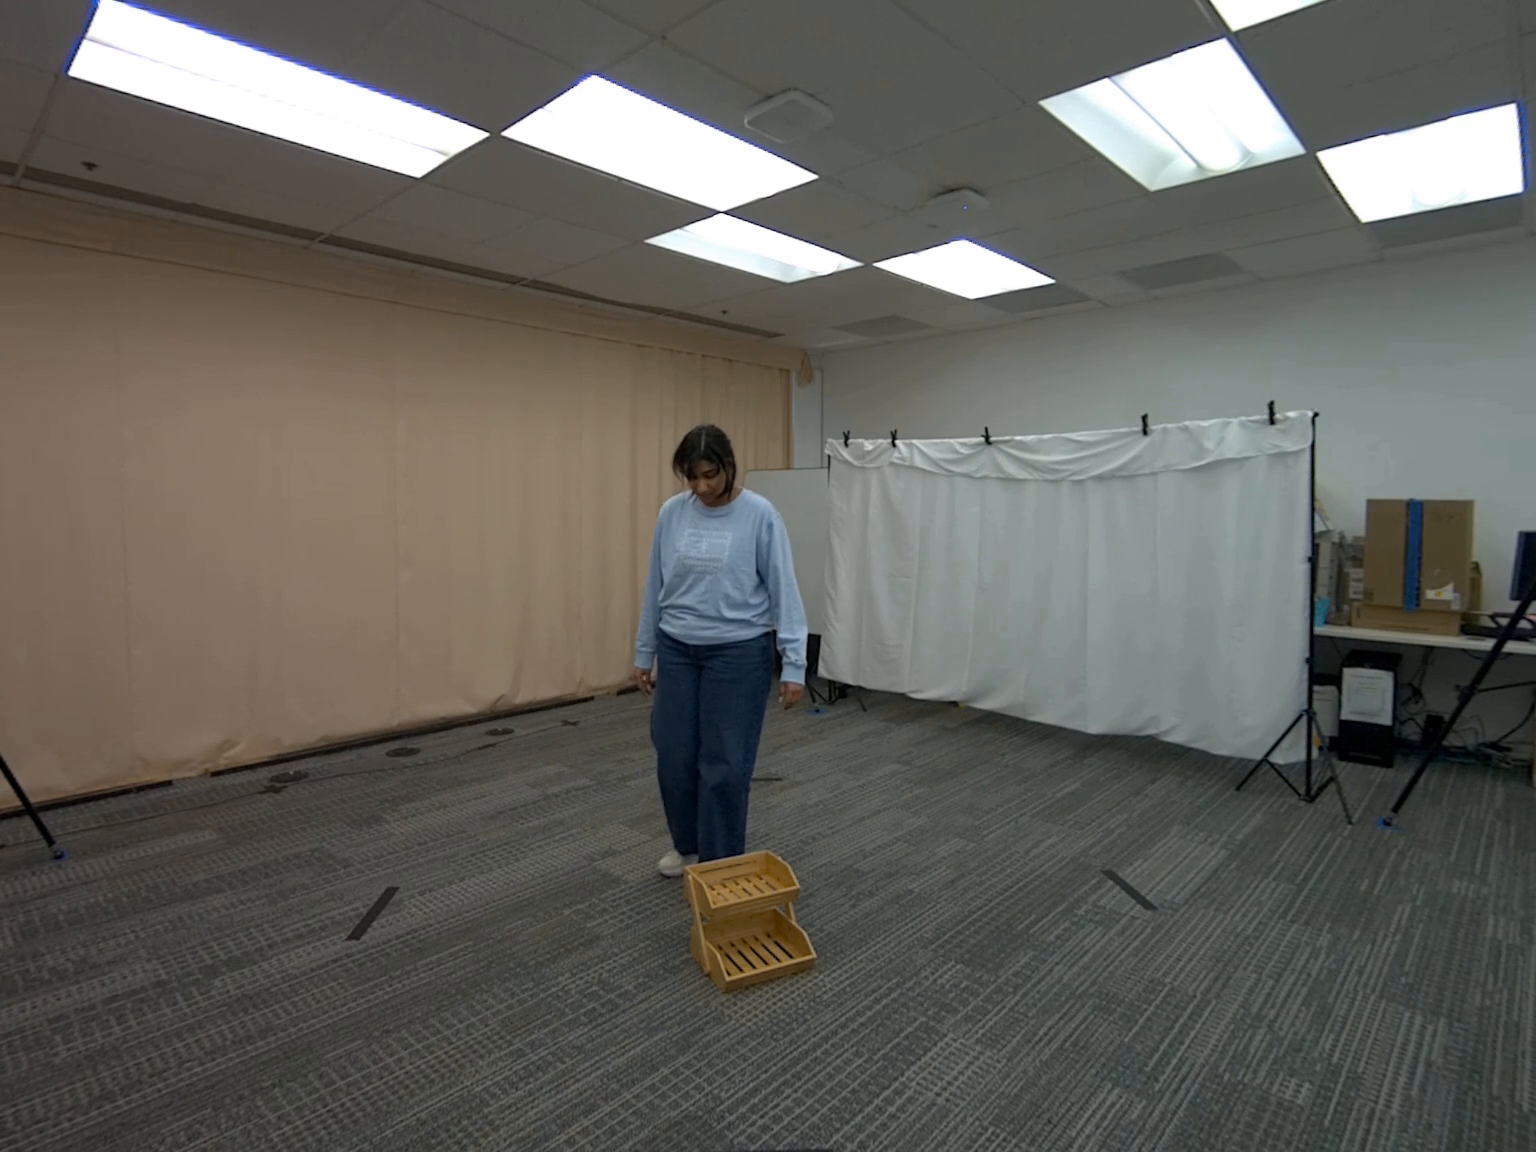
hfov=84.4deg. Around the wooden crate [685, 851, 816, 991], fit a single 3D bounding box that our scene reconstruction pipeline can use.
[{"bbox_3d":[-0.051,1.043,2.576,0.316,0.273,0.310,-2,4,-28],"label":"wooden crate"}]
